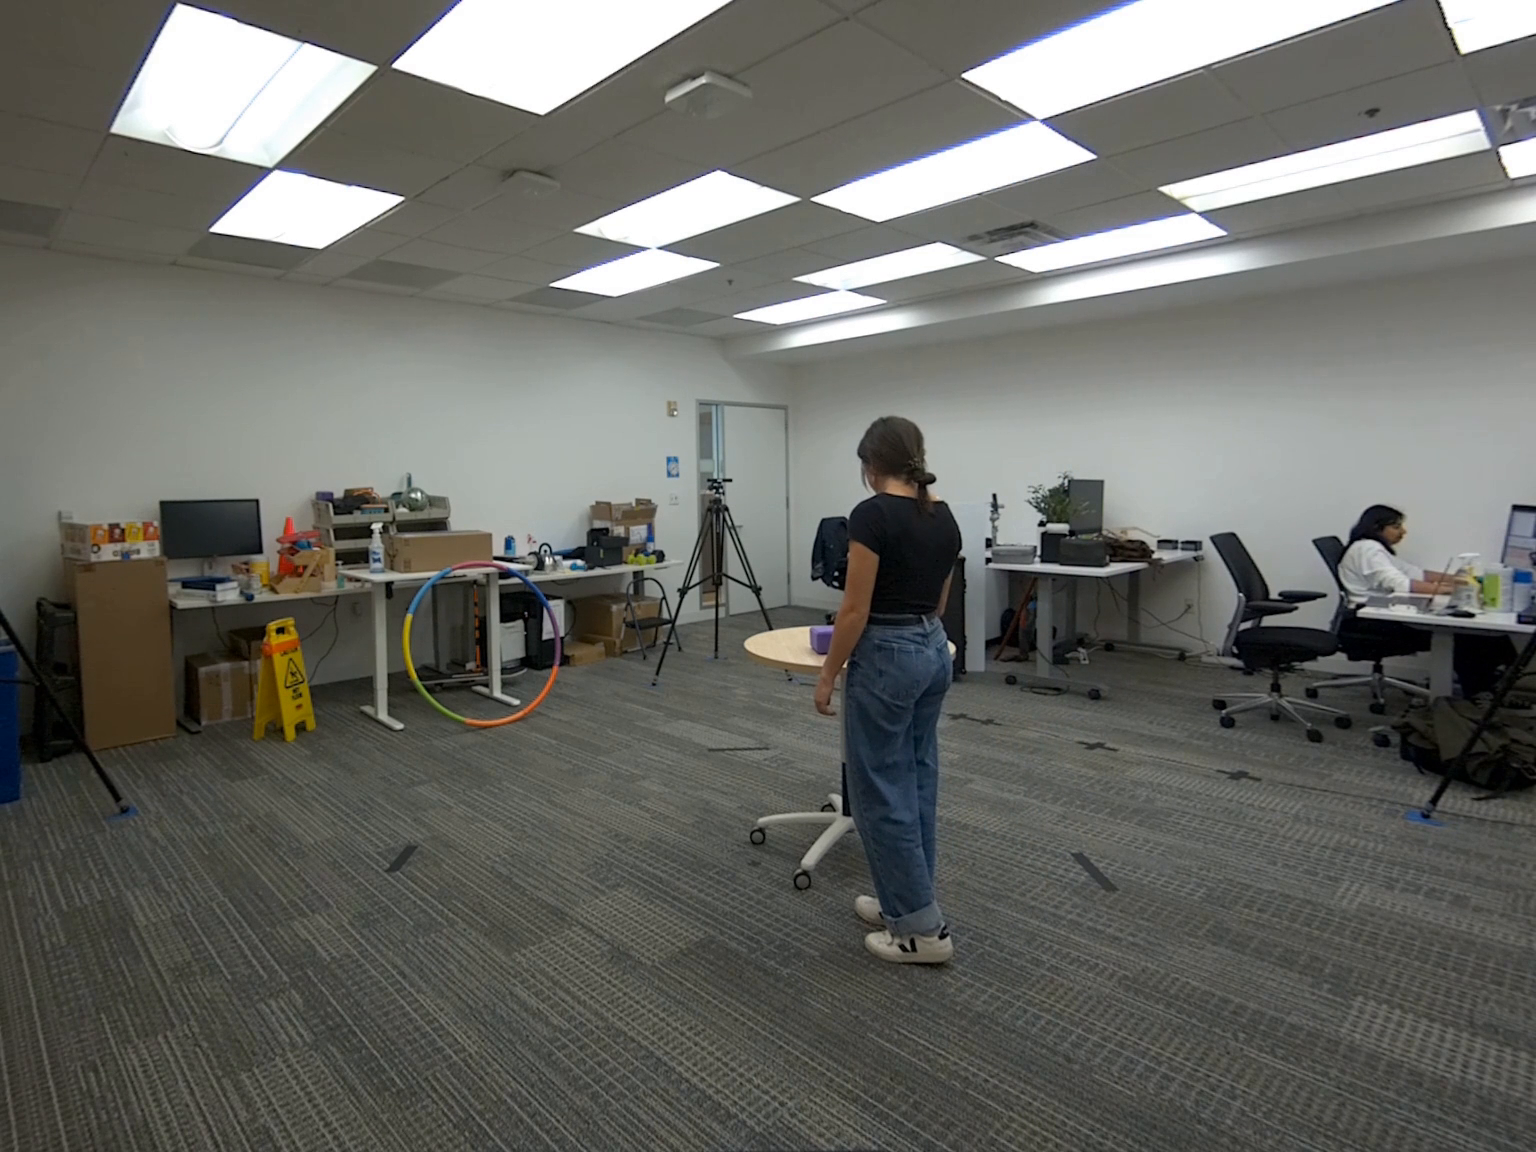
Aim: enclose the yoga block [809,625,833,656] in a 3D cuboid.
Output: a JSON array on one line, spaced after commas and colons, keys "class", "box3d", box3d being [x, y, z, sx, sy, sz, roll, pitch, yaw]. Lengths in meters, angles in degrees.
[{"class": "yoga block", "box3d": [0.283, 0.221, 3.039, 0.228, 0.076, 0.150, -3, 4, -6]}]
